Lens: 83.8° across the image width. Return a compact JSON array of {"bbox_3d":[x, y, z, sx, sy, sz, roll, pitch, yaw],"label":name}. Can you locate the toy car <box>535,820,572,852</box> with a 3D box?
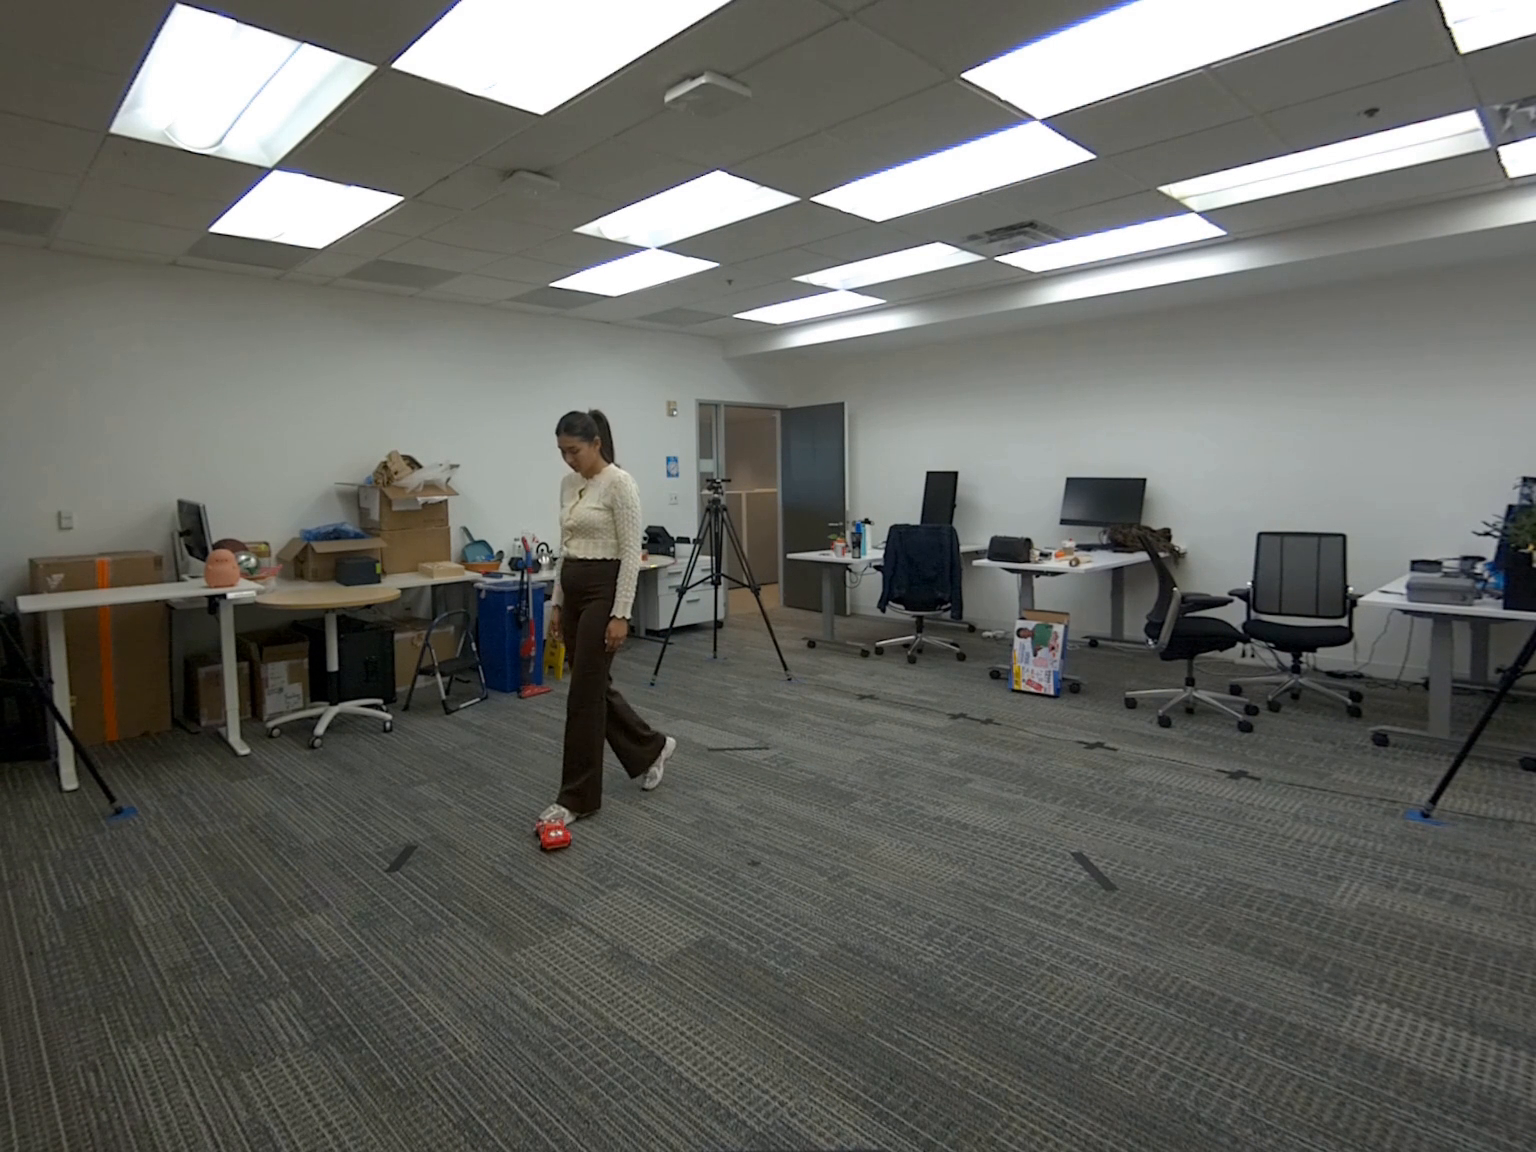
[{"bbox_3d":[-0.842,1.006,3.320,0.128,0.083,0.258,-3,-4,-21],"label":"toy car"}]
